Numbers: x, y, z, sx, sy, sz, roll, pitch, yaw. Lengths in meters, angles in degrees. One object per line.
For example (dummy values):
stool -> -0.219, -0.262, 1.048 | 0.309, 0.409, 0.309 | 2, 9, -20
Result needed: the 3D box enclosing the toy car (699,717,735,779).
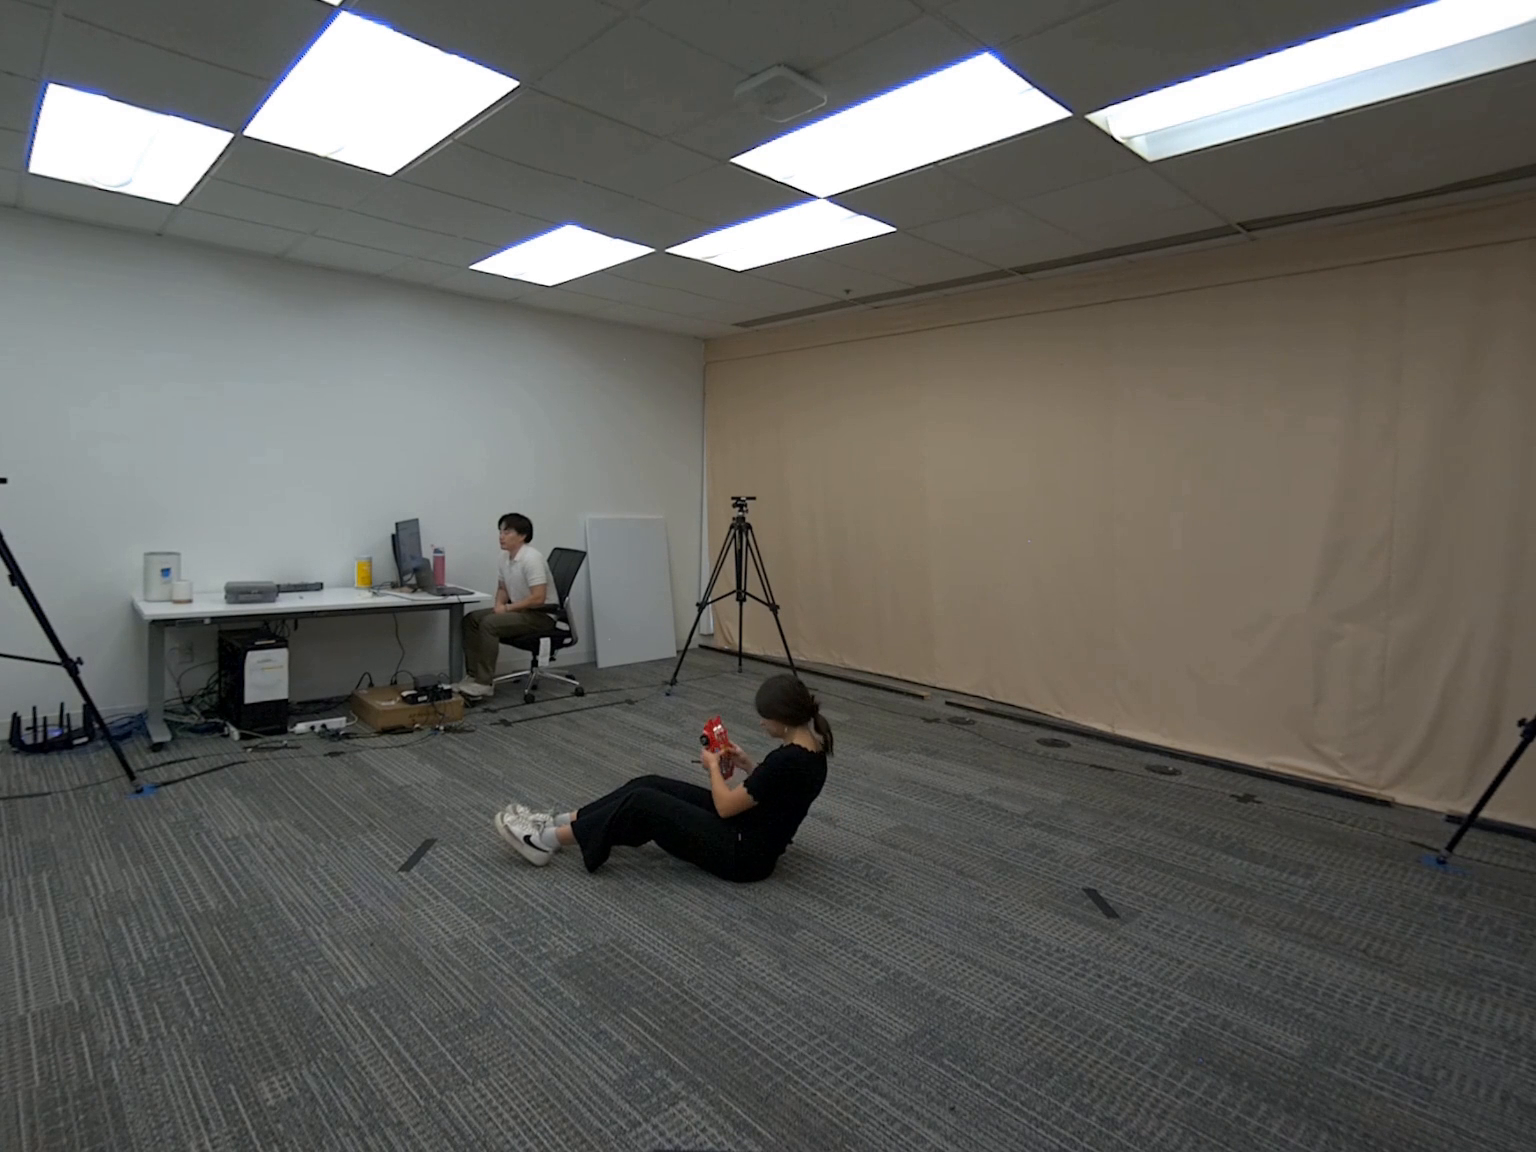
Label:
toy car -> -0.201, 0.709, 3.385 | 0.085, 0.253, 0.128 | -2, 7, 39
